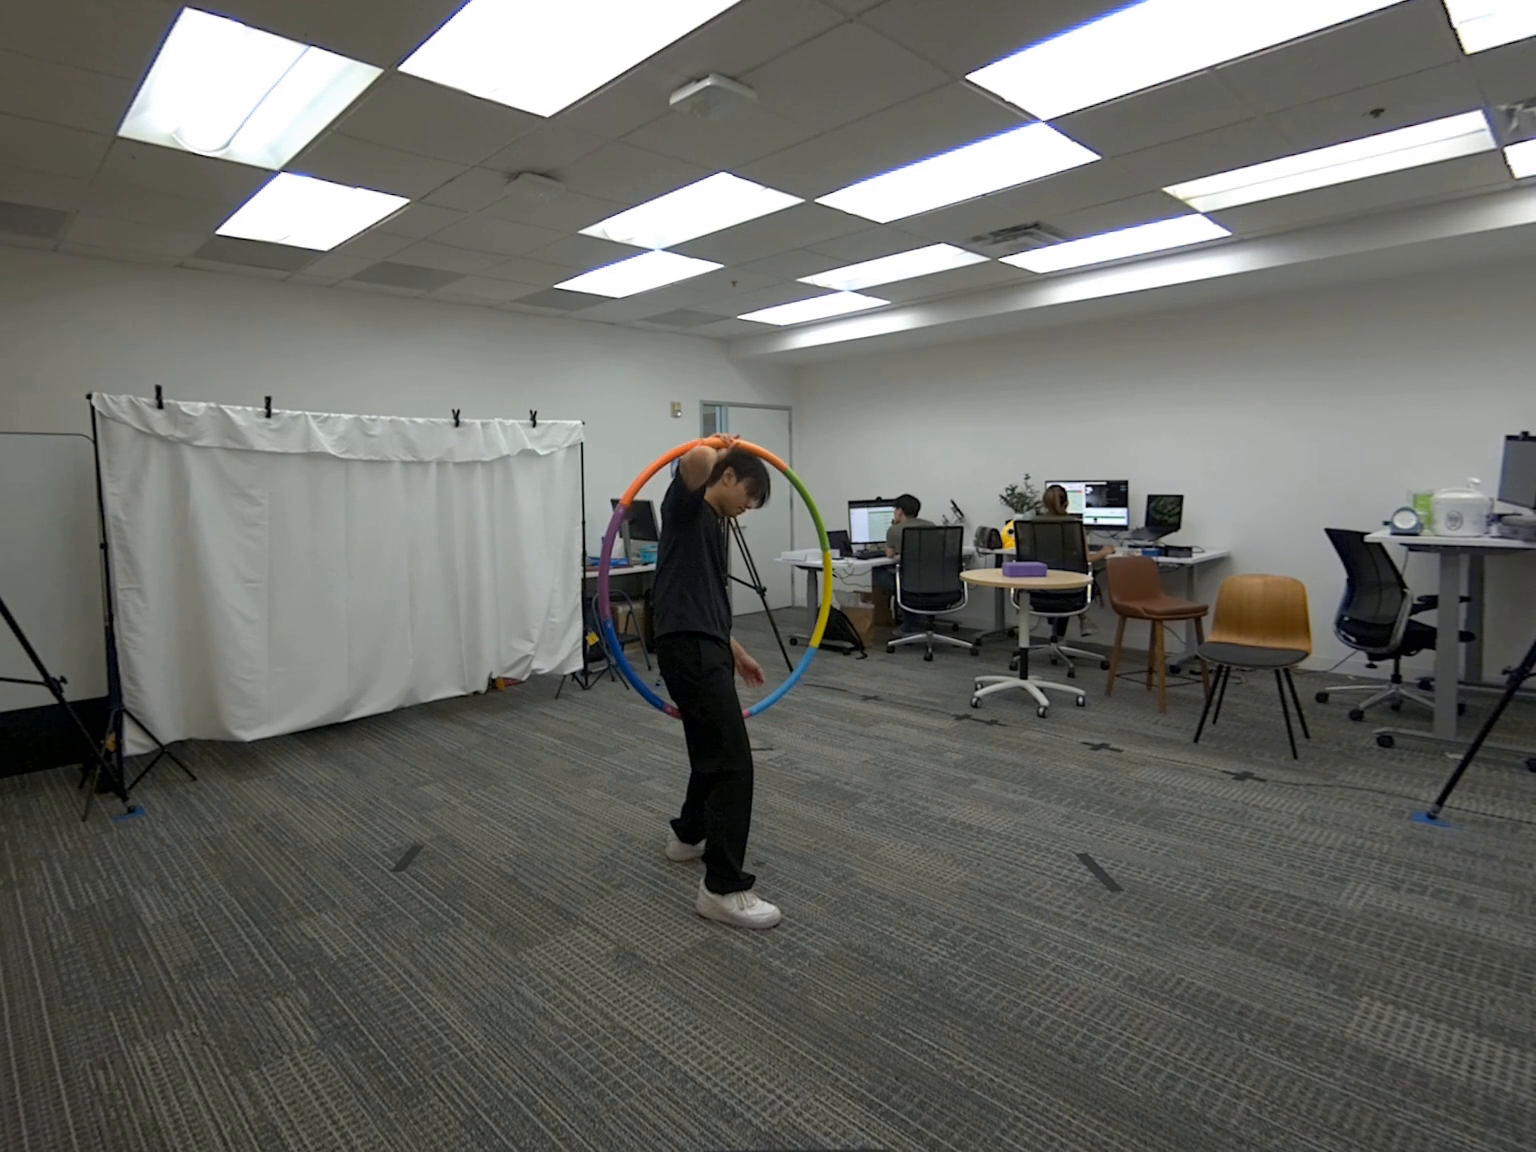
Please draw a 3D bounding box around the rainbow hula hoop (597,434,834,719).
[{"bbox_3d":[-0.144,0.016,2.975,0.954,0.976,0.036,-4,3,-35],"label":"rainbow hula hoop"}]
